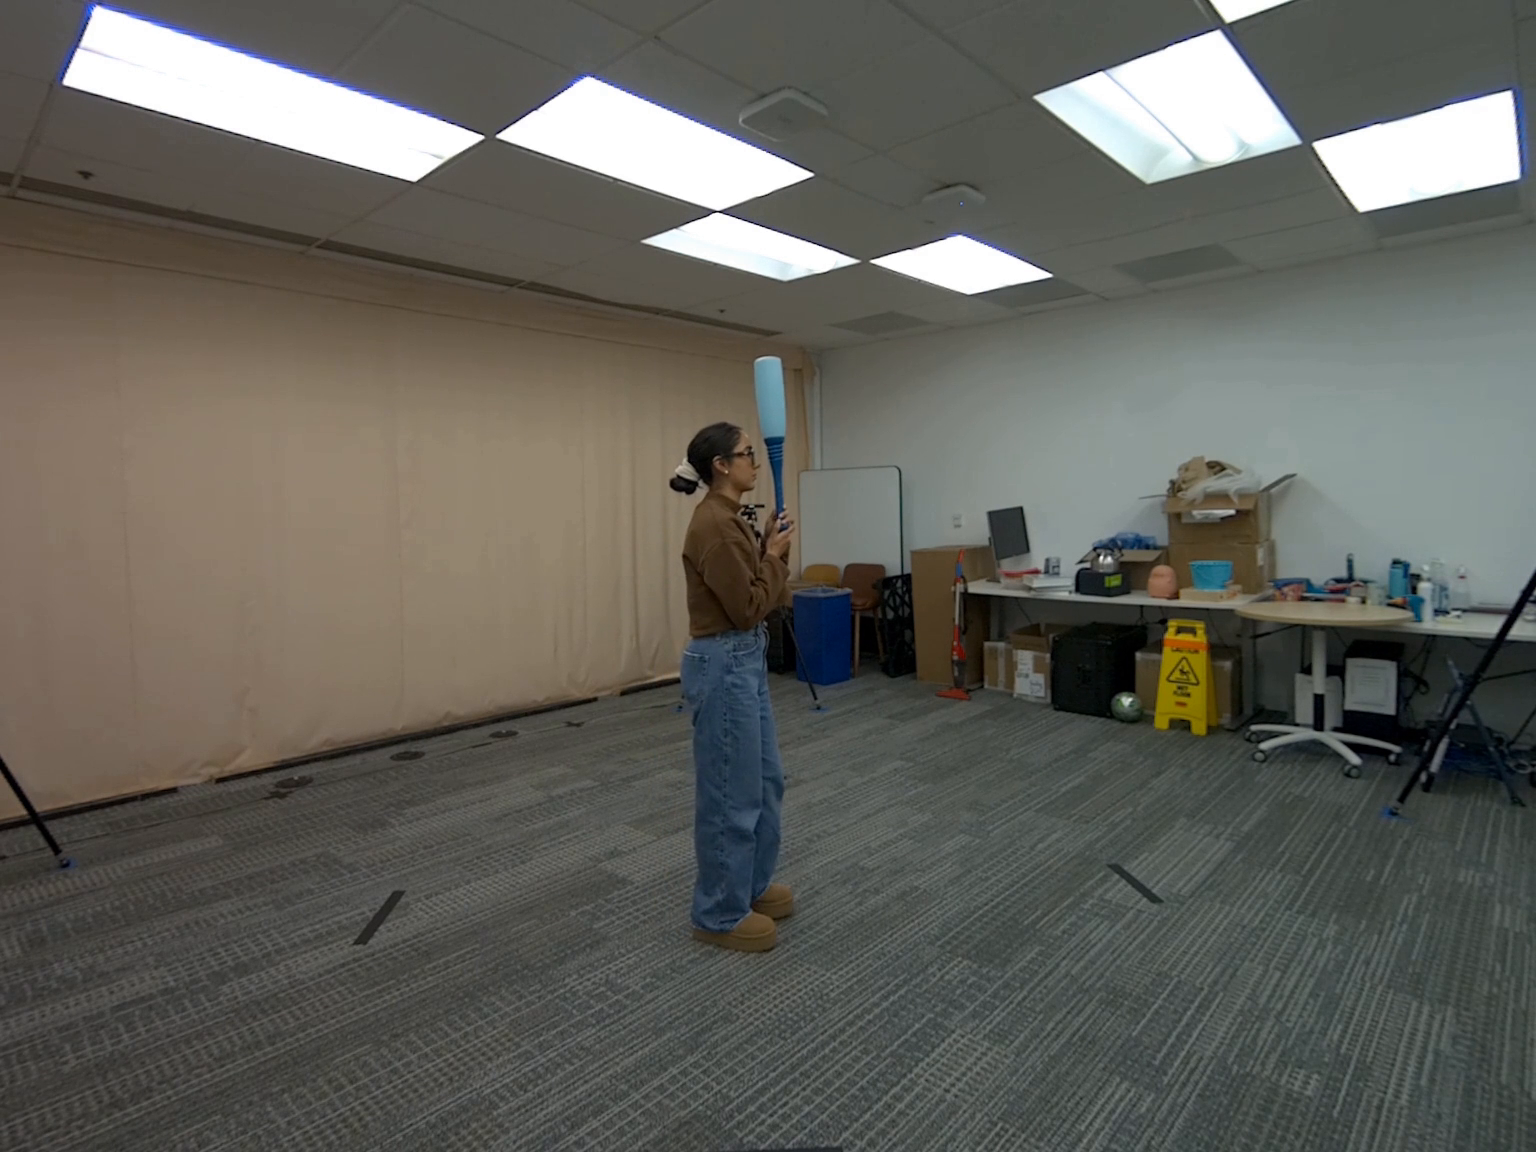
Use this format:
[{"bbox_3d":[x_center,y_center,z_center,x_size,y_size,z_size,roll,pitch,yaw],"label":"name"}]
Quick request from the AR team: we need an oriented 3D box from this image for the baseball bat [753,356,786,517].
[{"bbox_3d":[0.023,-0.417,2.637,0.089,0.542,0.089,-2,1,-2],"label":"baseball bat"}]
